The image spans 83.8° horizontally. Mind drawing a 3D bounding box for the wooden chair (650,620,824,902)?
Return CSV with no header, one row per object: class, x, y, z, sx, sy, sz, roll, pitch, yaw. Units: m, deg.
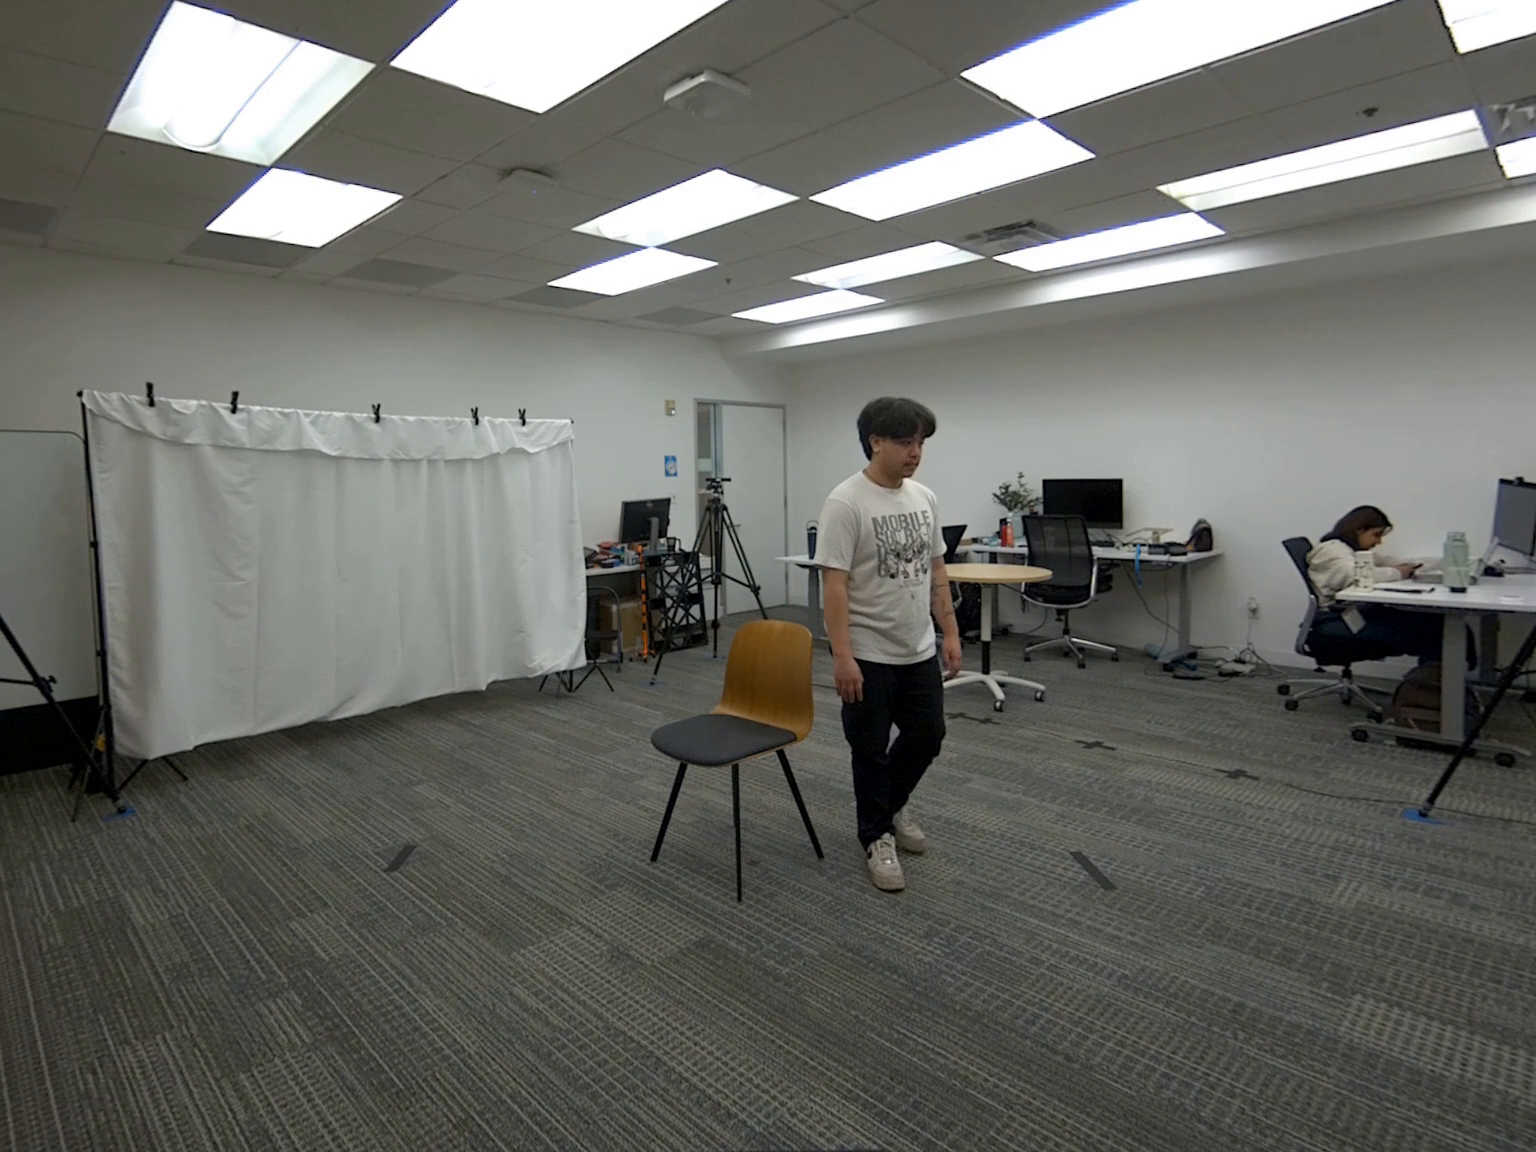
wooden chair,-0.125,0.618,3.093,0.493,0.877,0.508,3,2,43
